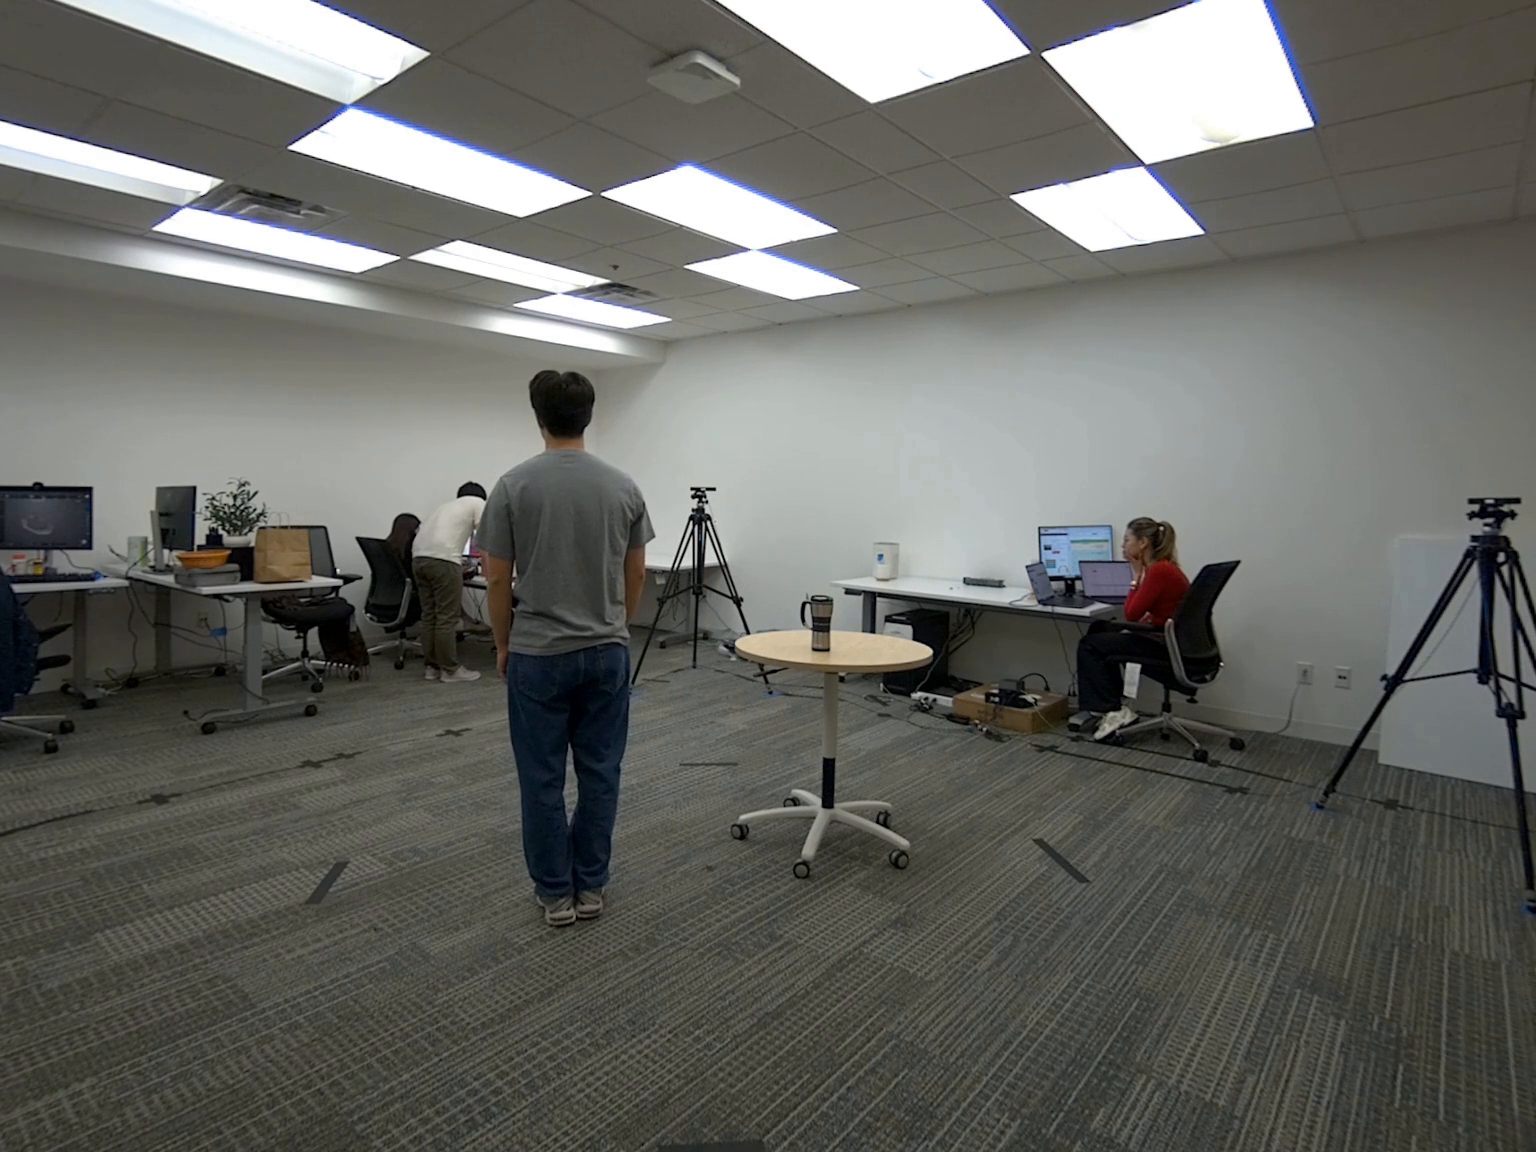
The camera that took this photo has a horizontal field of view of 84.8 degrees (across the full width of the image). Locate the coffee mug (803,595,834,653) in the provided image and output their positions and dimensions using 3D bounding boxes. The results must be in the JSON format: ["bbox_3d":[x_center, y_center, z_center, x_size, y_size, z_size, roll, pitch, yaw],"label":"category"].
[{"bbox_3d":[0.180,0.178,3.246,0.126,0.201,0.085,7,10,40],"label":"coffee mug"}]
